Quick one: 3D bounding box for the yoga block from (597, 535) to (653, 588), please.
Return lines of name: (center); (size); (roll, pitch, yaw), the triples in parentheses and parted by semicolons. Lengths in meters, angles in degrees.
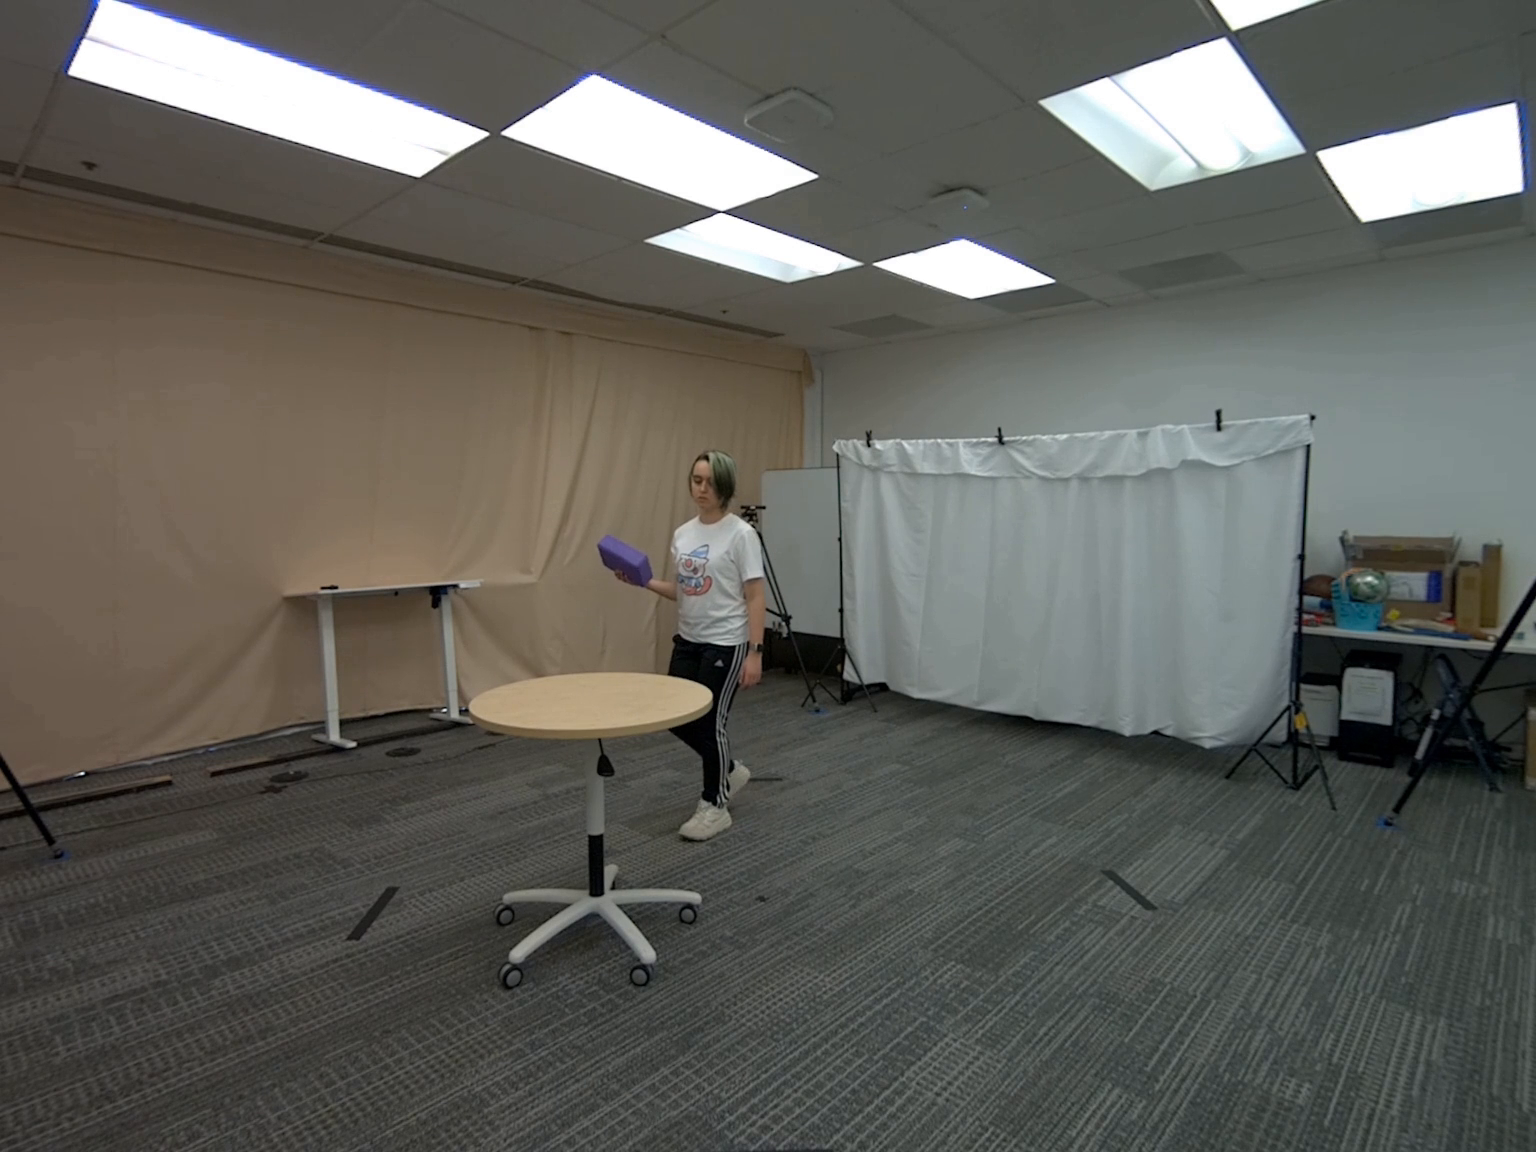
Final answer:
yoga block: (-0.598, -0.062, 3.505); (0.236, 0.076, 0.145); (27, -29, 27)
